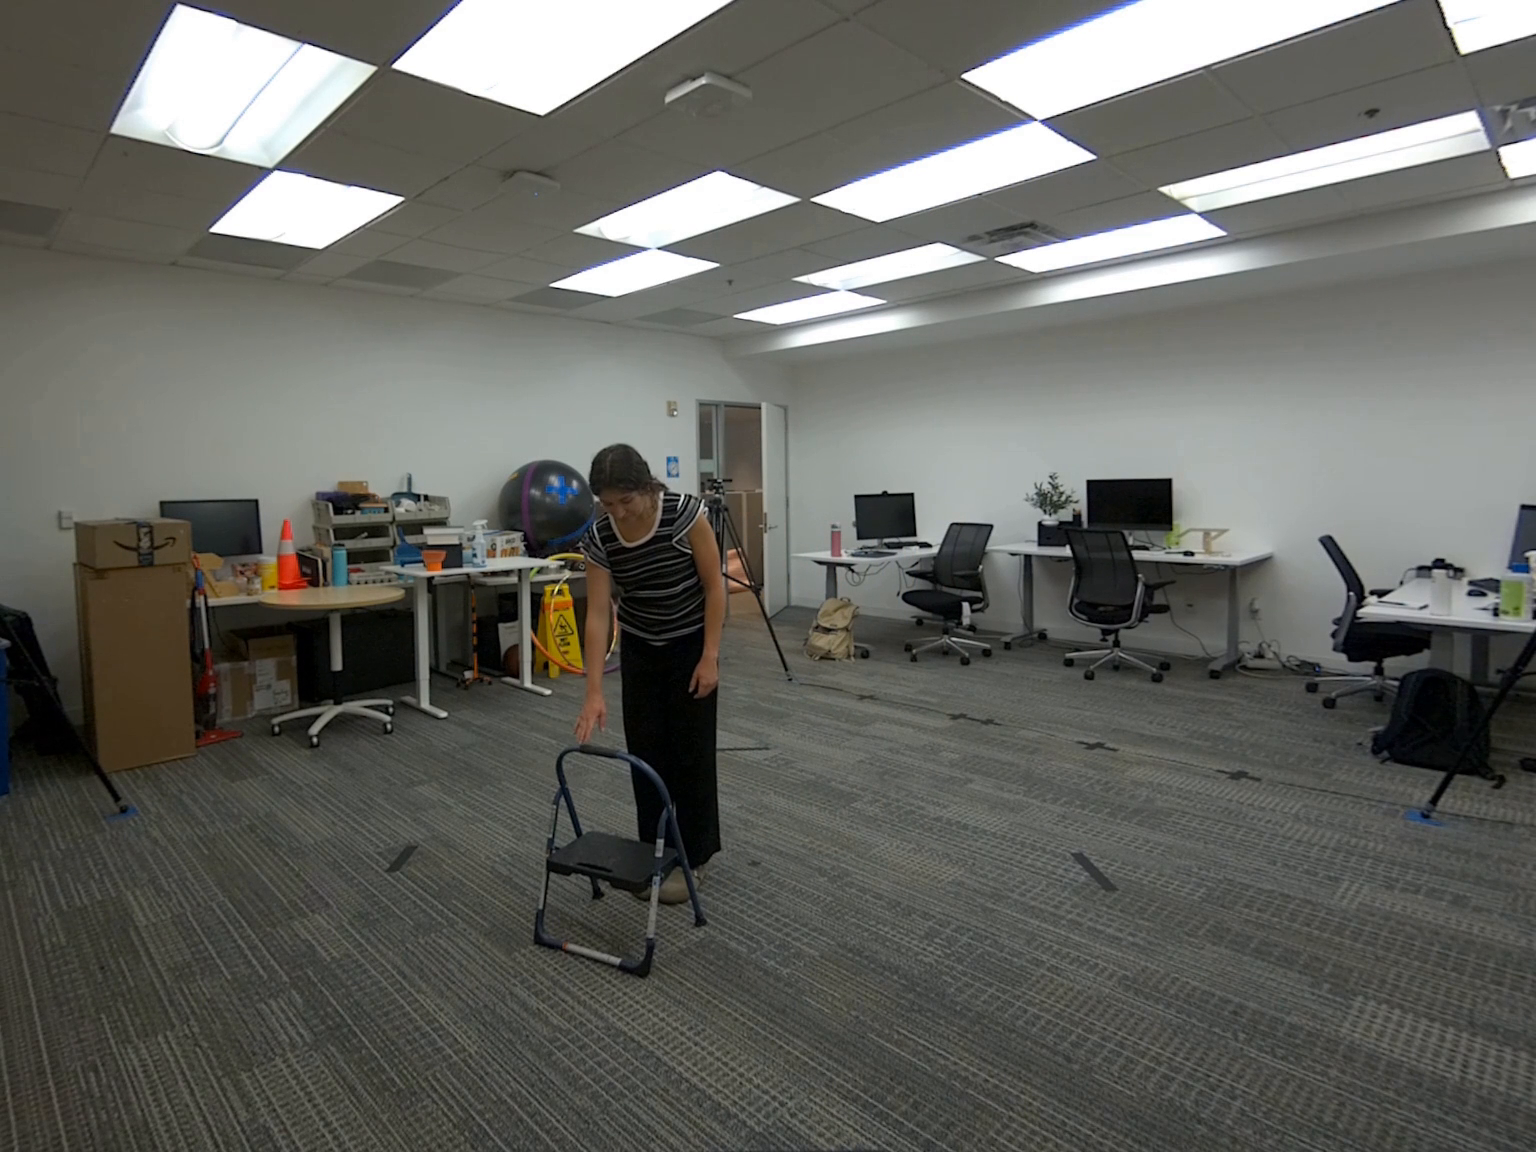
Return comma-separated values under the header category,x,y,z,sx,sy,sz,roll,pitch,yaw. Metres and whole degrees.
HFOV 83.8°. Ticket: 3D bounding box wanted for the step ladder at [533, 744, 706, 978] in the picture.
category,x,y,z,sx,sy,sz,roll,pitch,yaw
step ladder,-0.464,0.808,2.627,0.441,0.603,0.342,1,5,27
